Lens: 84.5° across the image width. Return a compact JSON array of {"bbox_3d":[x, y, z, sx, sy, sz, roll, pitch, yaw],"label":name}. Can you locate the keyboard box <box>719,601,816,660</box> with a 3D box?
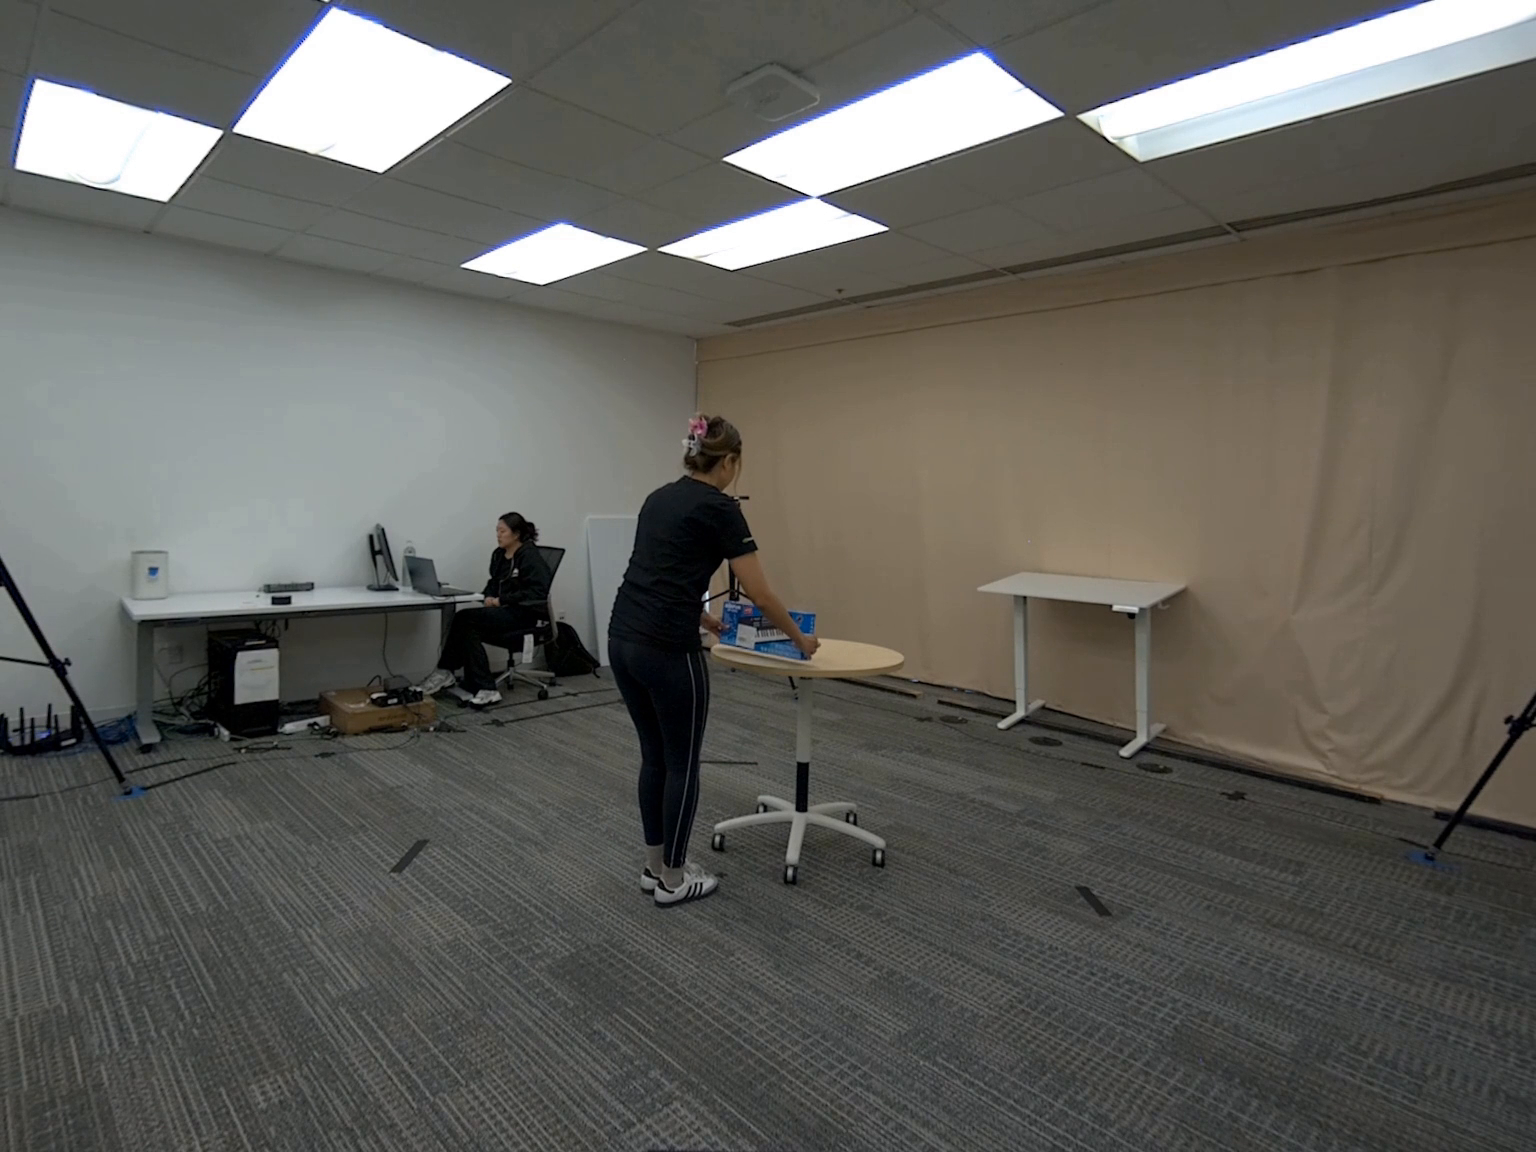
[{"bbox_3d":[-0.015,0.207,3.207,0.448,0.176,0.057,6,0,45],"label":"keyboard box"}]
